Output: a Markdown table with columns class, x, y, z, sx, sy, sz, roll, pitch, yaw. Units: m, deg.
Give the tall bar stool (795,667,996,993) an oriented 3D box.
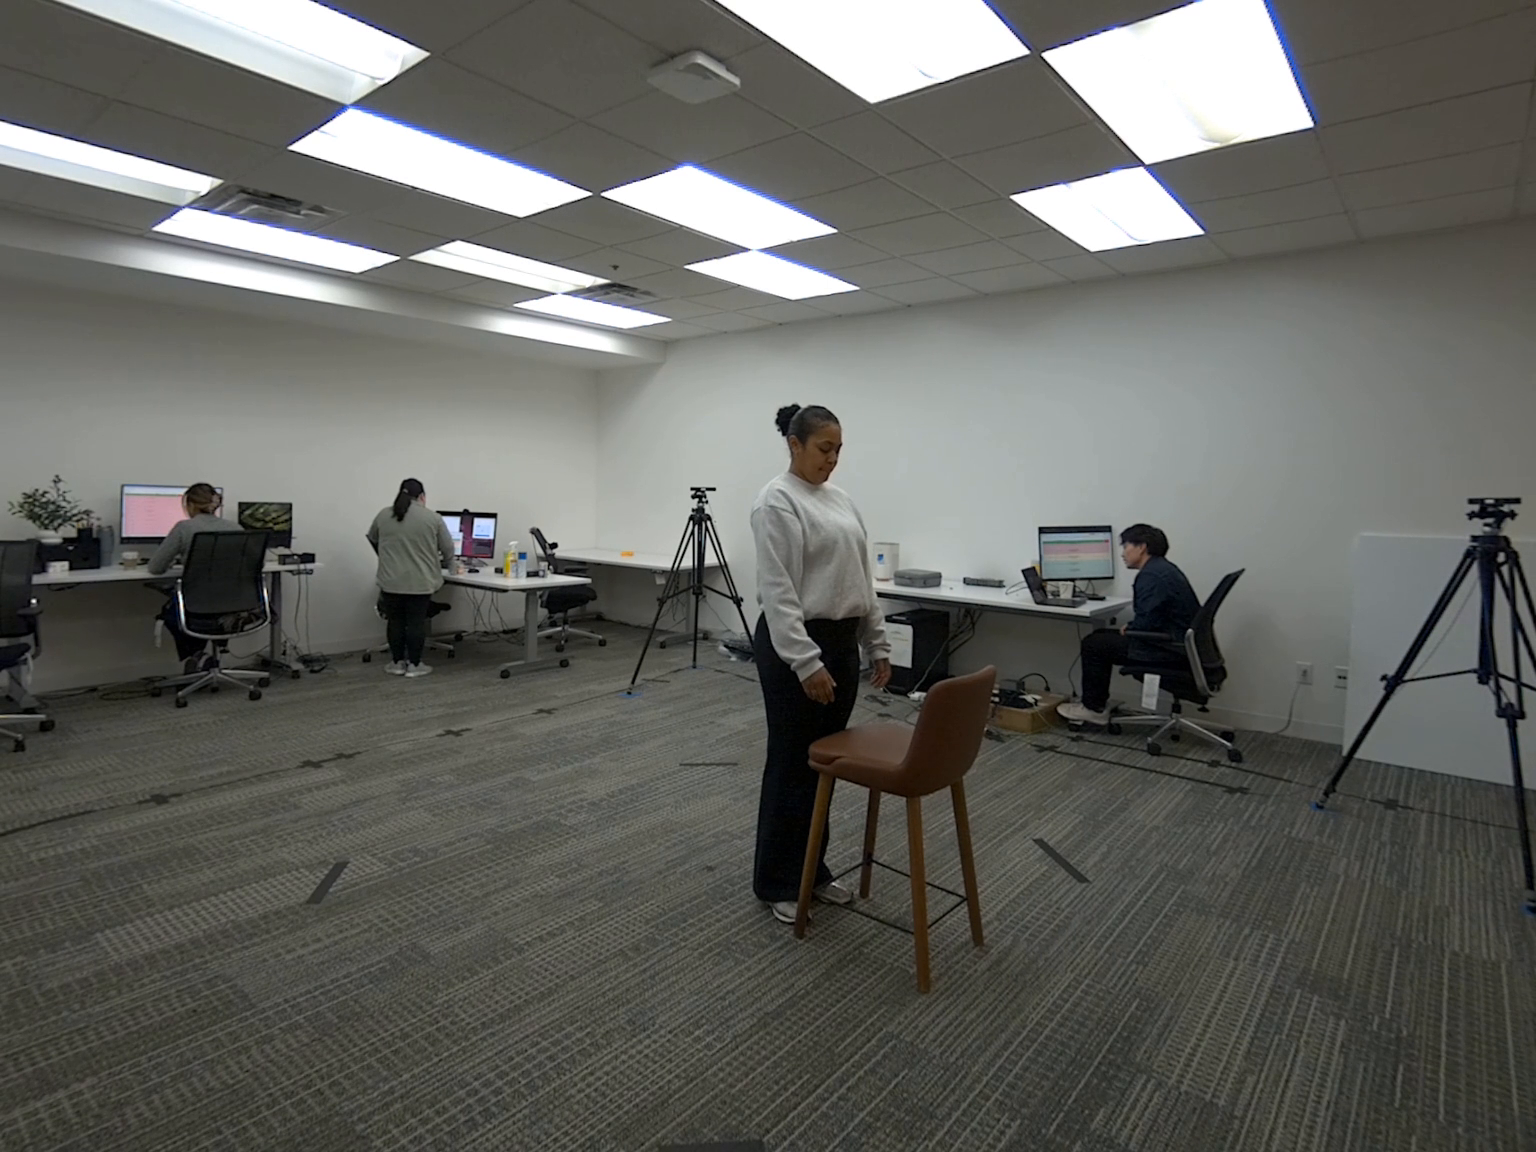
| class | x | y | z | sx | sy | sz | roll | pitch | yaw |
| --- | --- | --- | --- | --- | --- | --- | --- | --- | --- |
| tall bar stool | 0.391 | 0.685 | 2.620 | 0.484 | 0.886 | 0.443 | 7 | 6 | 40 |
